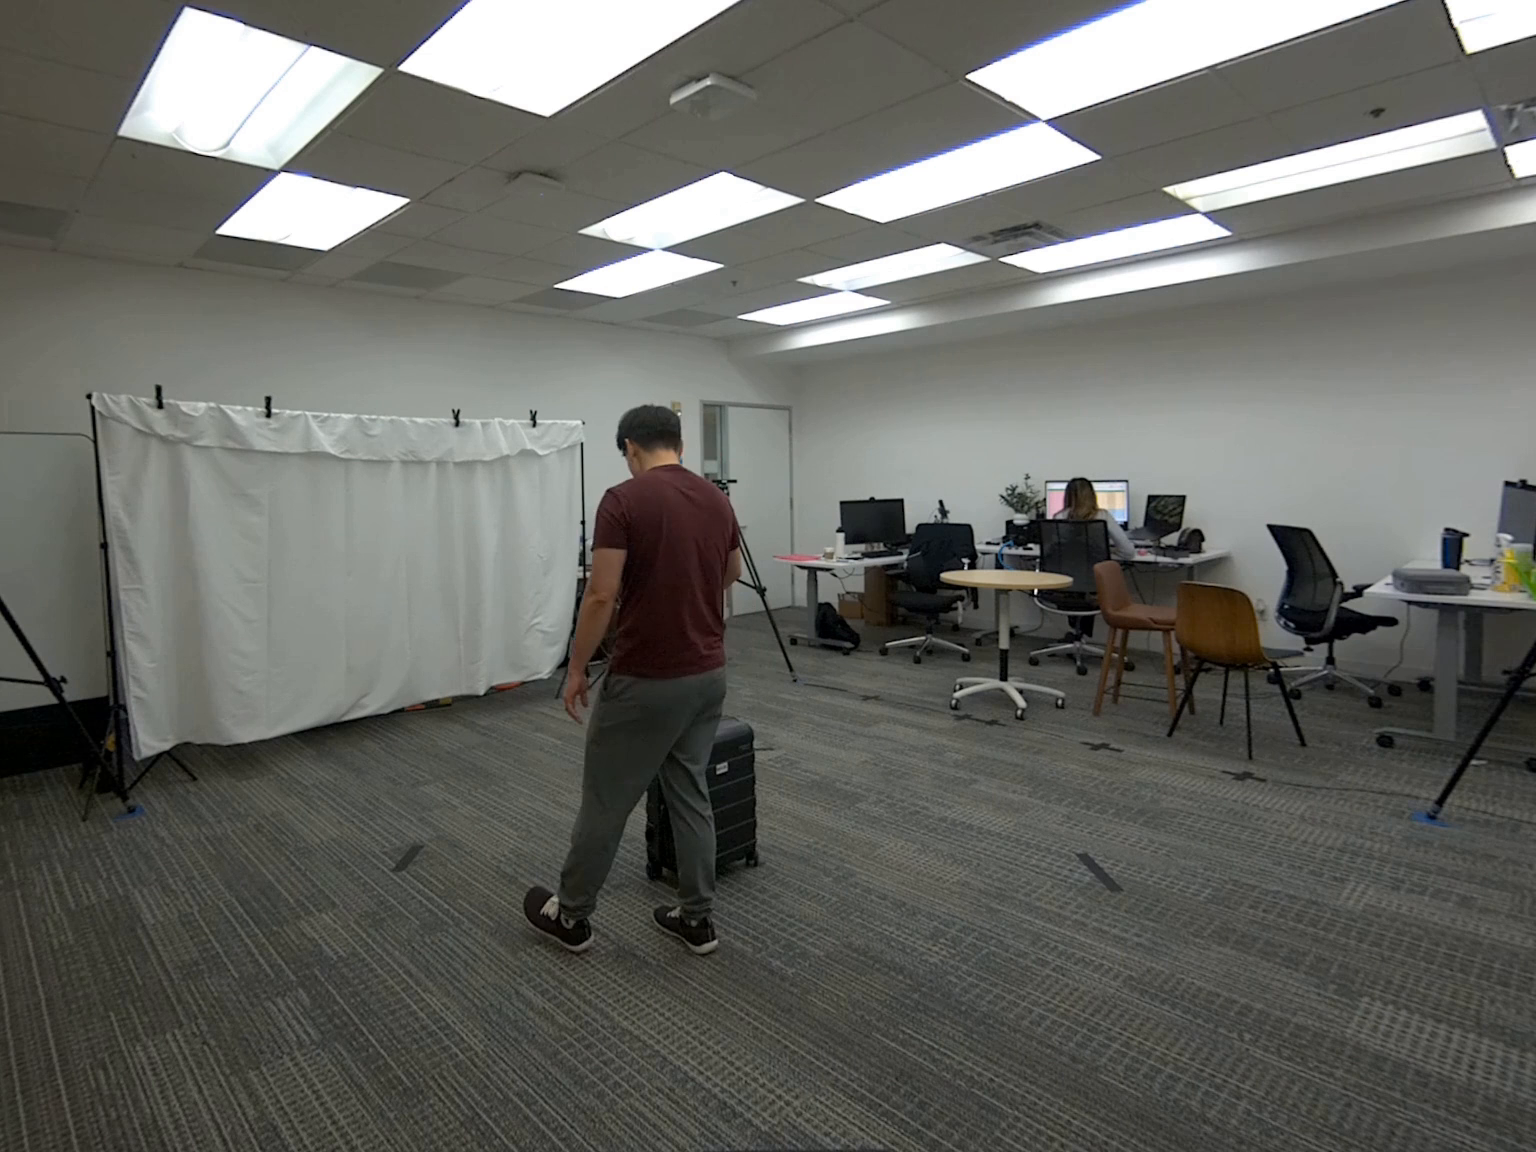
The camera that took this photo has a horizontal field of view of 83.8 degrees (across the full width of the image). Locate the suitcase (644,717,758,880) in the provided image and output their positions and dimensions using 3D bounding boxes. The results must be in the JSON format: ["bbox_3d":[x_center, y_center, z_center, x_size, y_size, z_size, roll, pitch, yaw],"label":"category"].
[{"bbox_3d":[-0.226,0.582,3.028,0.374,0.974,0.265,-4,7,-43],"label":"suitcase"}]
